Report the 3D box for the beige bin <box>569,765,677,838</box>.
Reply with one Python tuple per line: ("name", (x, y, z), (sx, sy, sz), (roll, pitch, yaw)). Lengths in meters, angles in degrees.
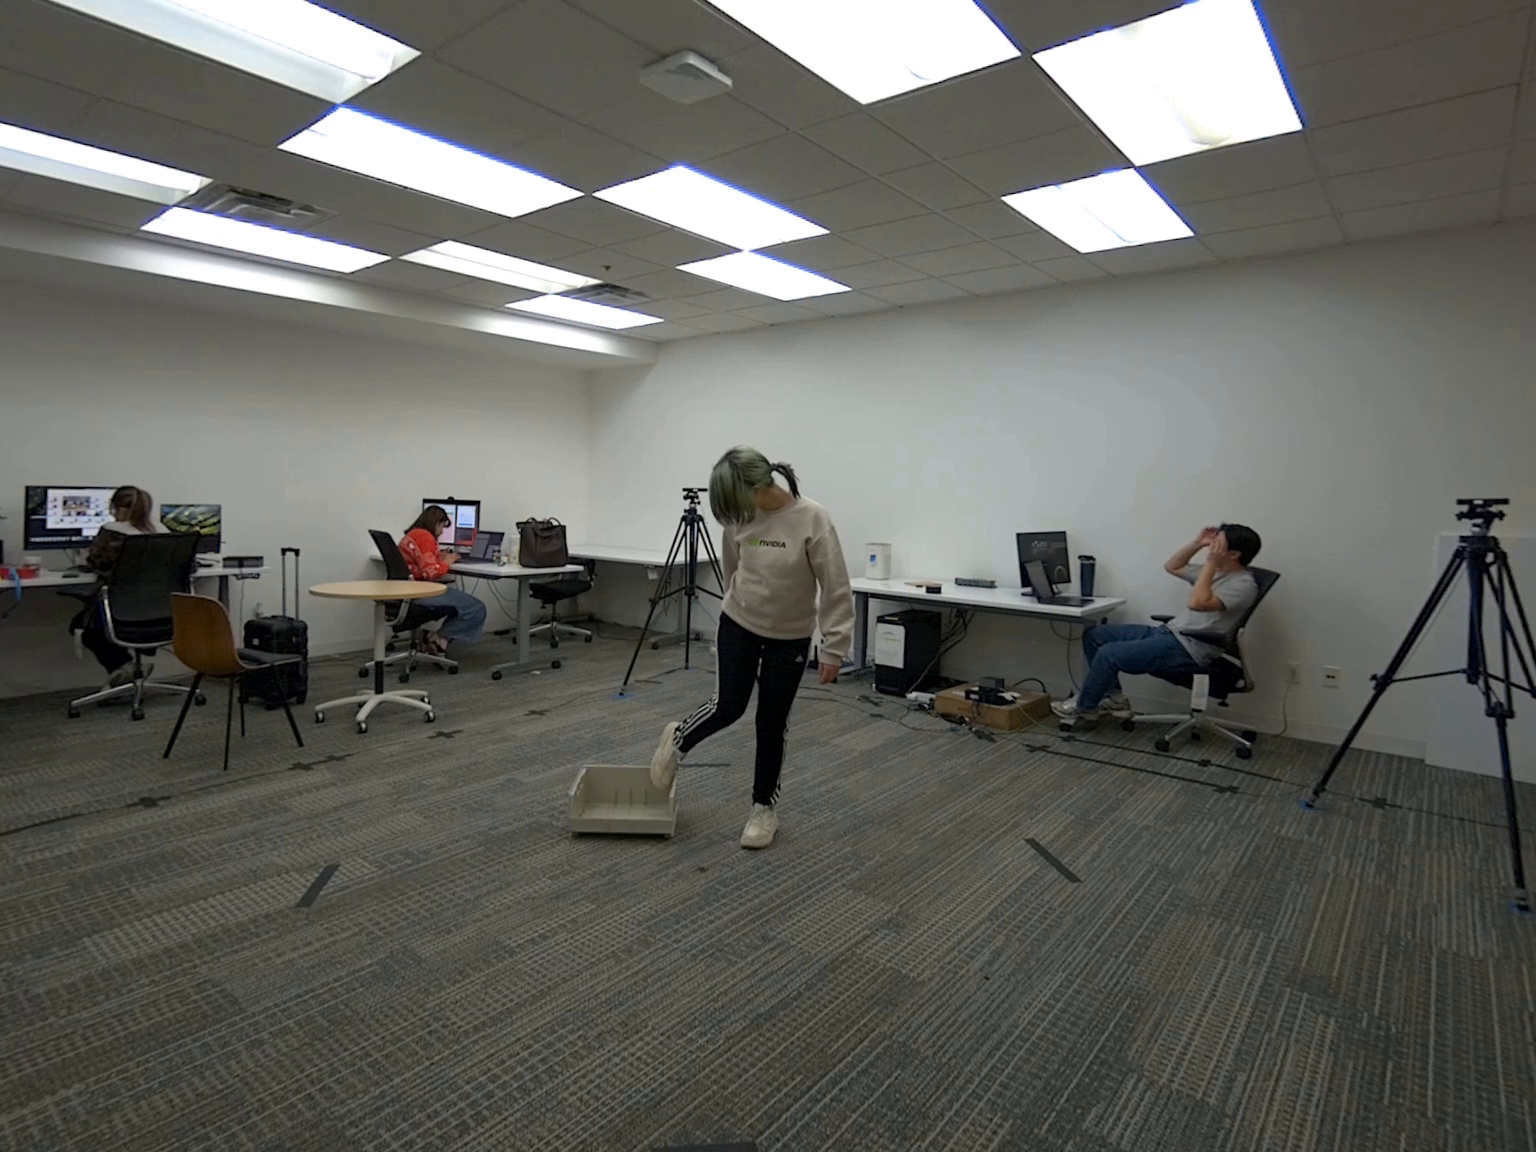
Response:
("beige bin", (-0.600, 0.932, 3.521), (0.422, 0.188, 0.379), (2, 4, -1))
